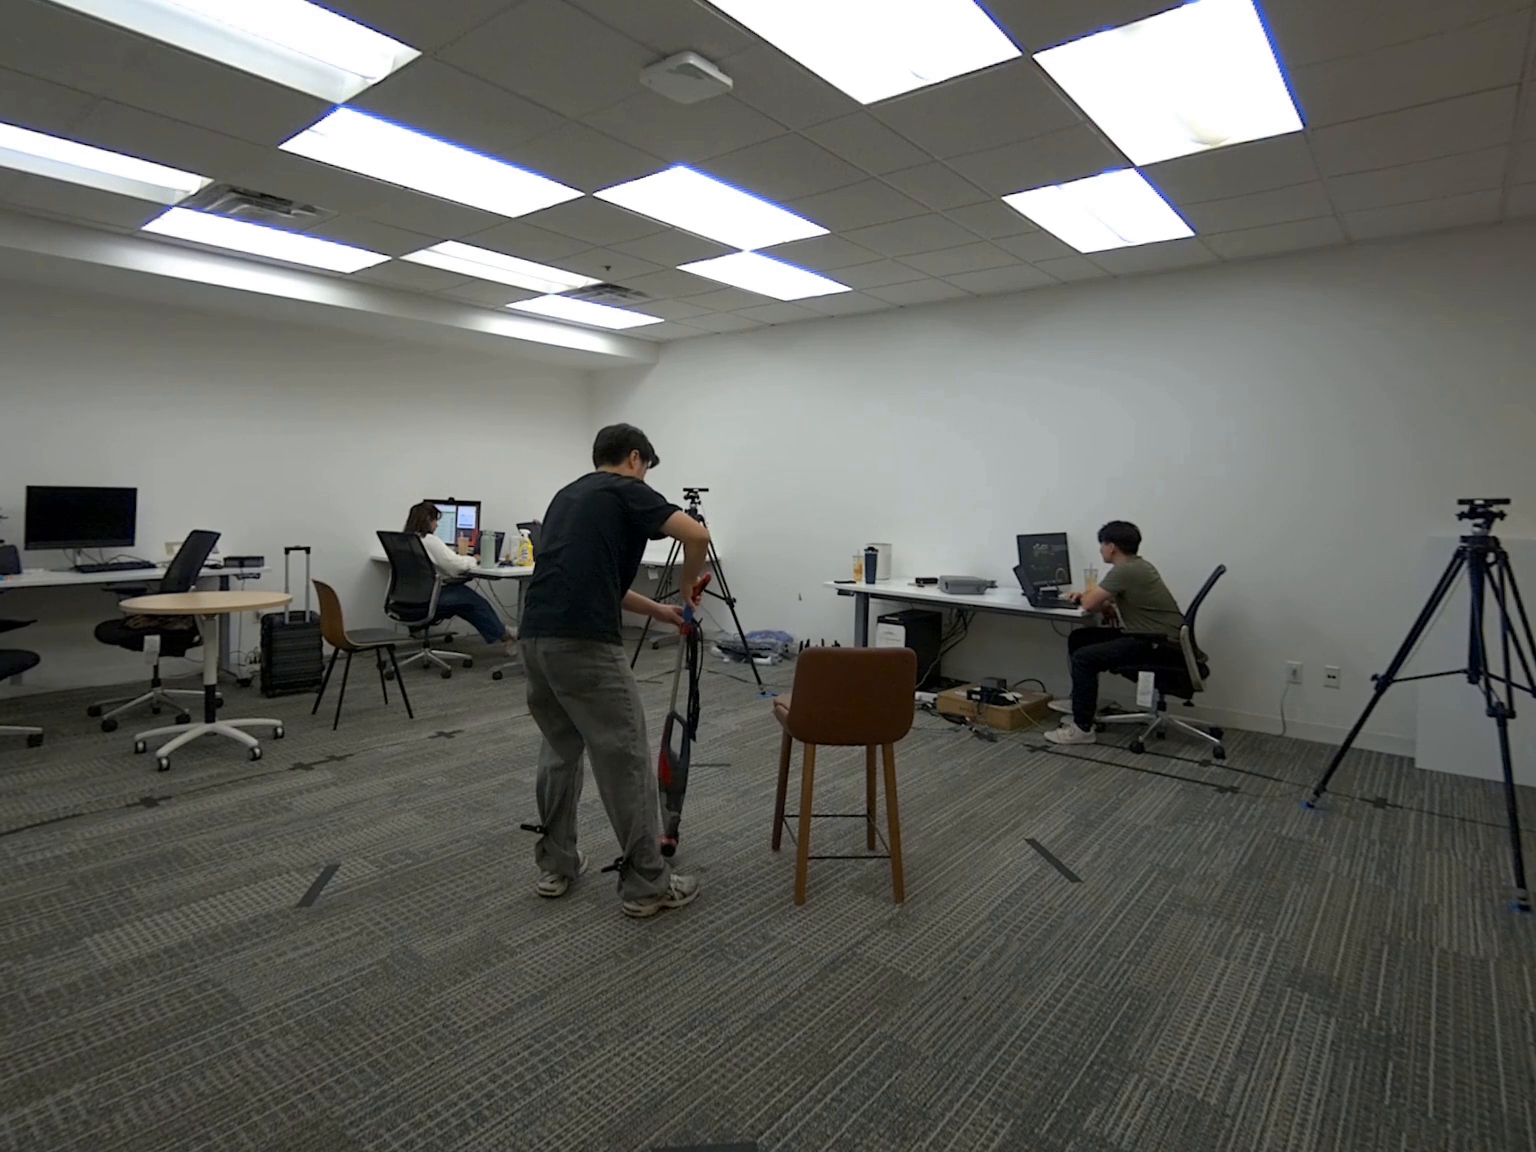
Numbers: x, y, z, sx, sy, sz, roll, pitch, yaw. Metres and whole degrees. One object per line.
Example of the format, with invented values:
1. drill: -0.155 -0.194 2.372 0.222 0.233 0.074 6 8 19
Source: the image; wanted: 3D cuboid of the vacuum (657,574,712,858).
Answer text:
1. vacuum: -0.315 0.514 3.107 0.143 1.046 0.255 12 5 -8
